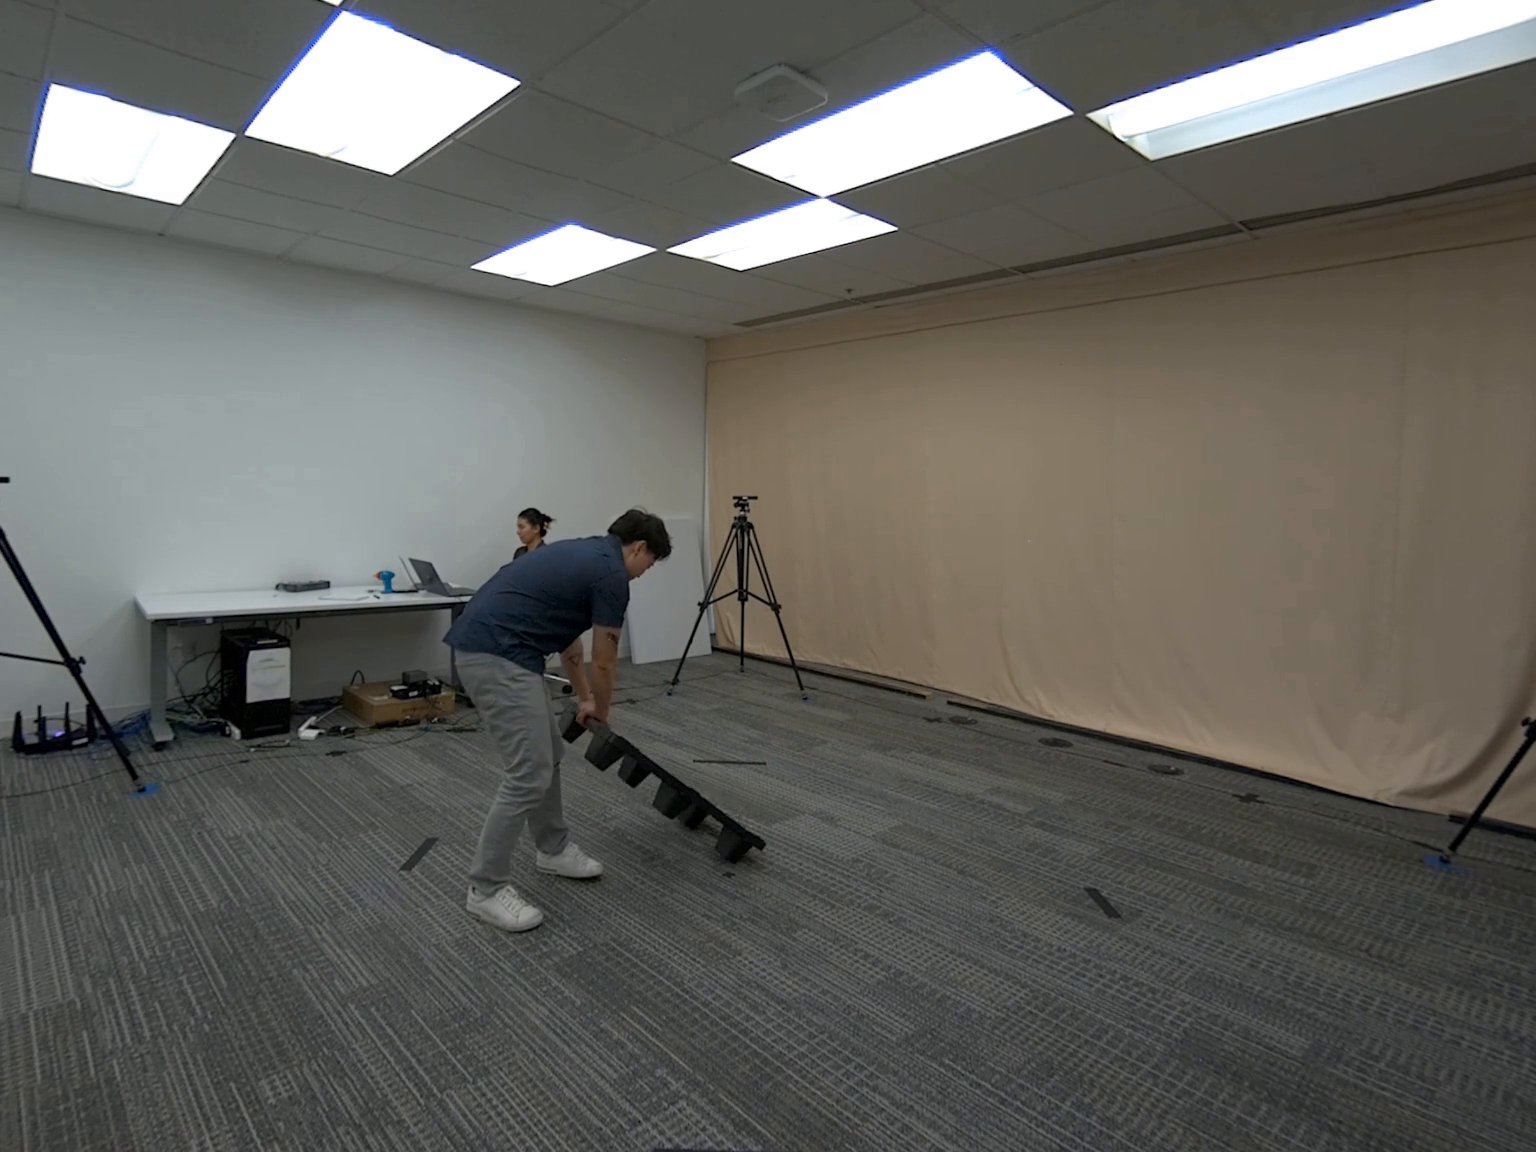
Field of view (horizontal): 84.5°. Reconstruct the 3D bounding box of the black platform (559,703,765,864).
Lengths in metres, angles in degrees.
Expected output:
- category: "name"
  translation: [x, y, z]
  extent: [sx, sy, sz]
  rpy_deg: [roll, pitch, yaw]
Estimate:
- category: "black platform"
  translation: [-0.462, 0.798, 3.268]
  extent: [0.786, 0.143, 0.618]
  rpy_deg: [43, -17, -24]
